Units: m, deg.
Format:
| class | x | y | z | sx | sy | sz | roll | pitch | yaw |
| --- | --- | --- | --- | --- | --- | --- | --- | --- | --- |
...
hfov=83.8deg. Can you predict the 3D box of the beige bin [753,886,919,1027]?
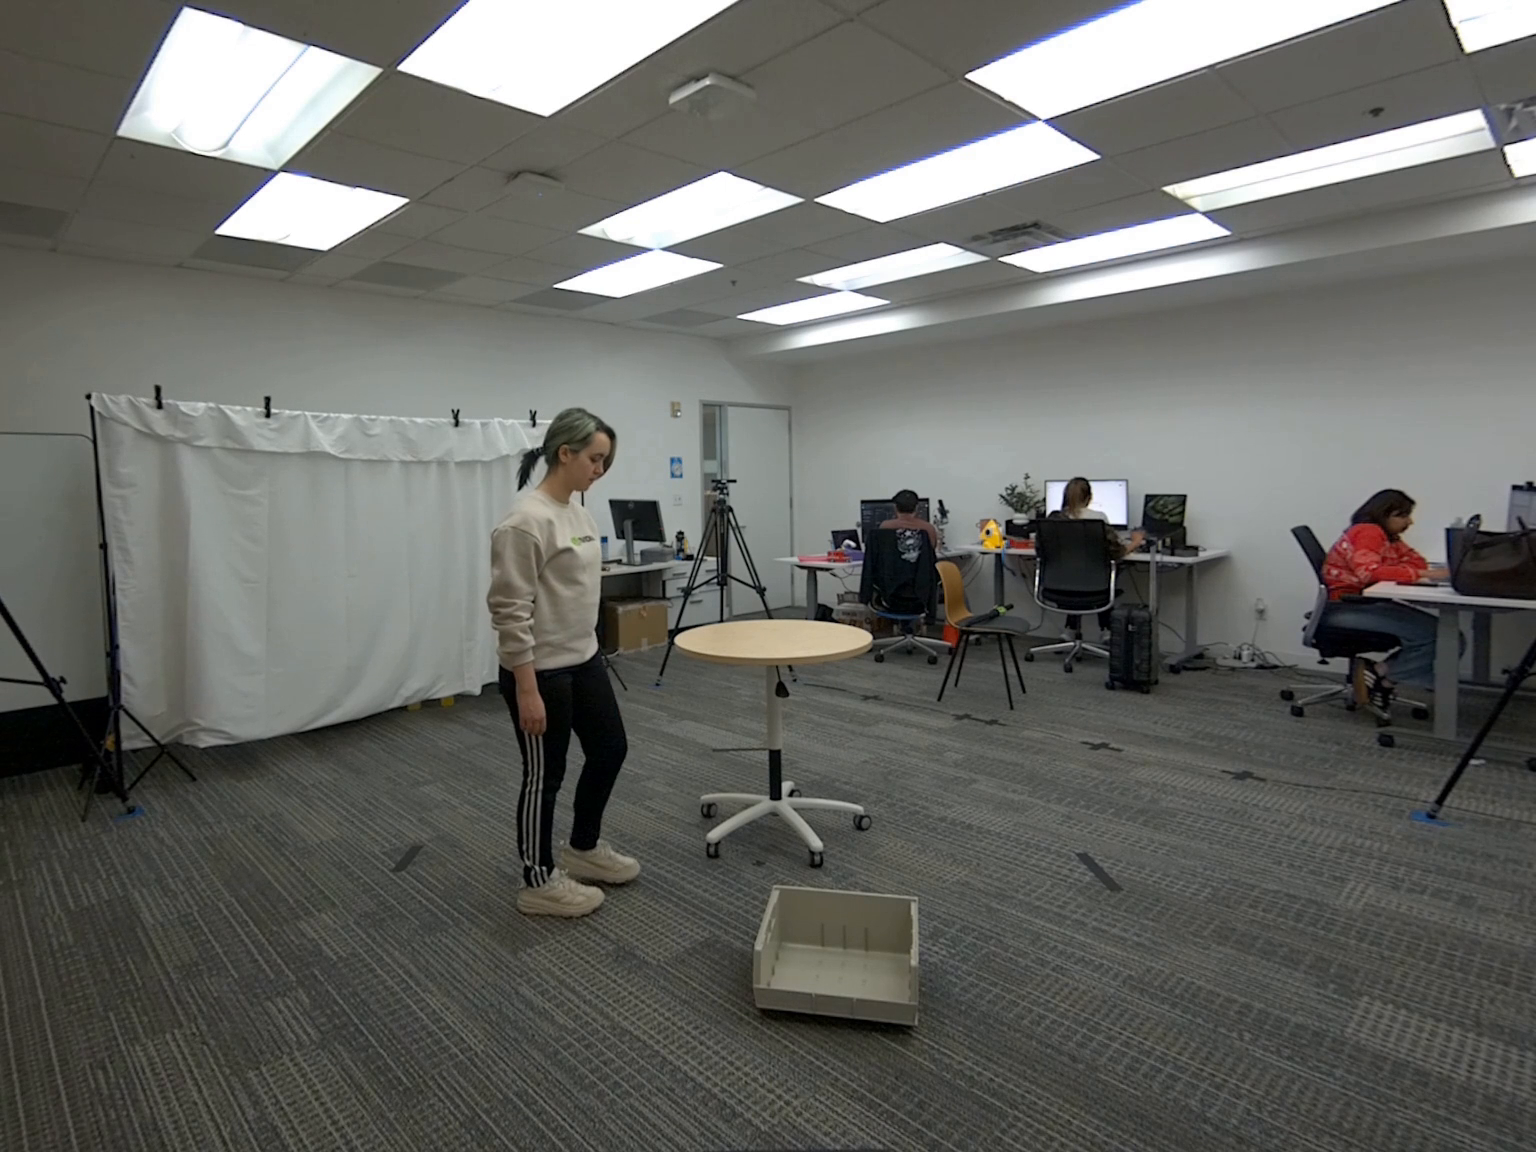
| class | x | y | z | sx | sy | sz | roll | pitch | yaw |
| --- | --- | --- | --- | --- | --- | --- | --- | --- | --- |
| beige bin | 0.203 | 1.043 | 2.335 | 0.427 | 0.188 | 0.374 | 0 | 5 | 11 |
